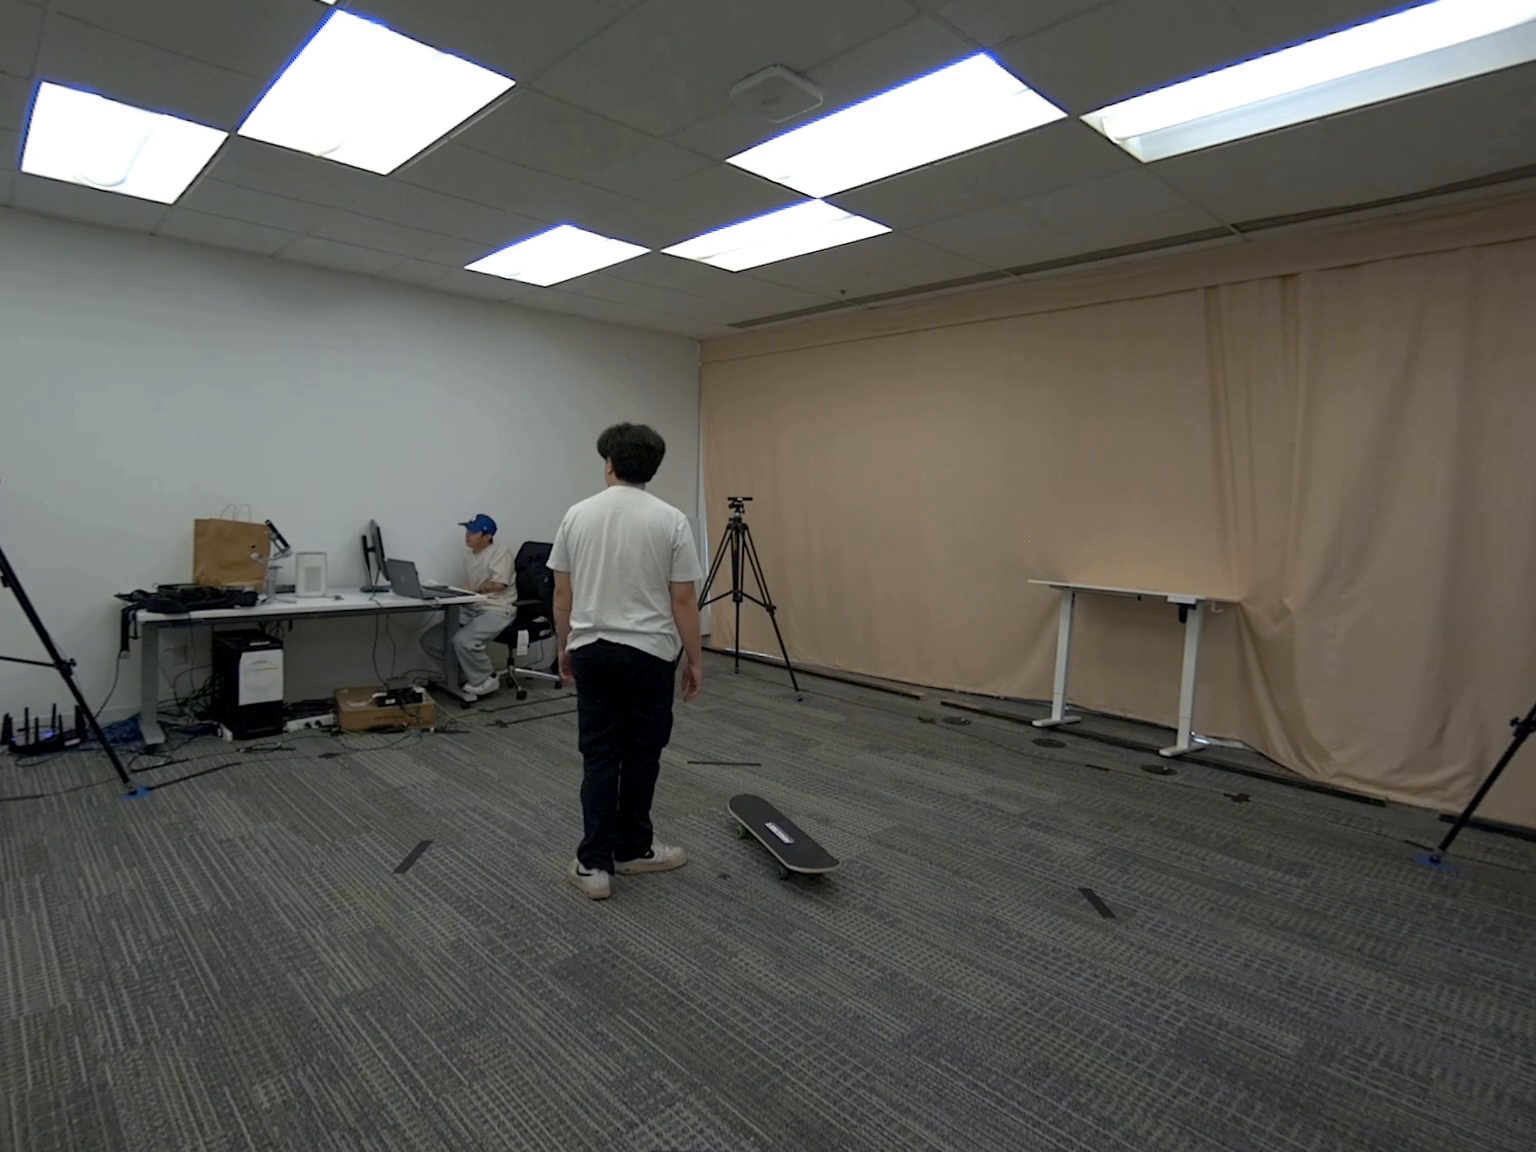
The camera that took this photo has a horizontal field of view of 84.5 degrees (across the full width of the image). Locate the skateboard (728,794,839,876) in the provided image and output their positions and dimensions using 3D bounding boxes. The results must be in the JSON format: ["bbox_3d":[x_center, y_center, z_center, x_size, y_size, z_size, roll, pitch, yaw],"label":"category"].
[{"bbox_3d":[0.033,1.039,3.305,0.190,0.110,0.800,0,5,-22],"label":"skateboard"}]
